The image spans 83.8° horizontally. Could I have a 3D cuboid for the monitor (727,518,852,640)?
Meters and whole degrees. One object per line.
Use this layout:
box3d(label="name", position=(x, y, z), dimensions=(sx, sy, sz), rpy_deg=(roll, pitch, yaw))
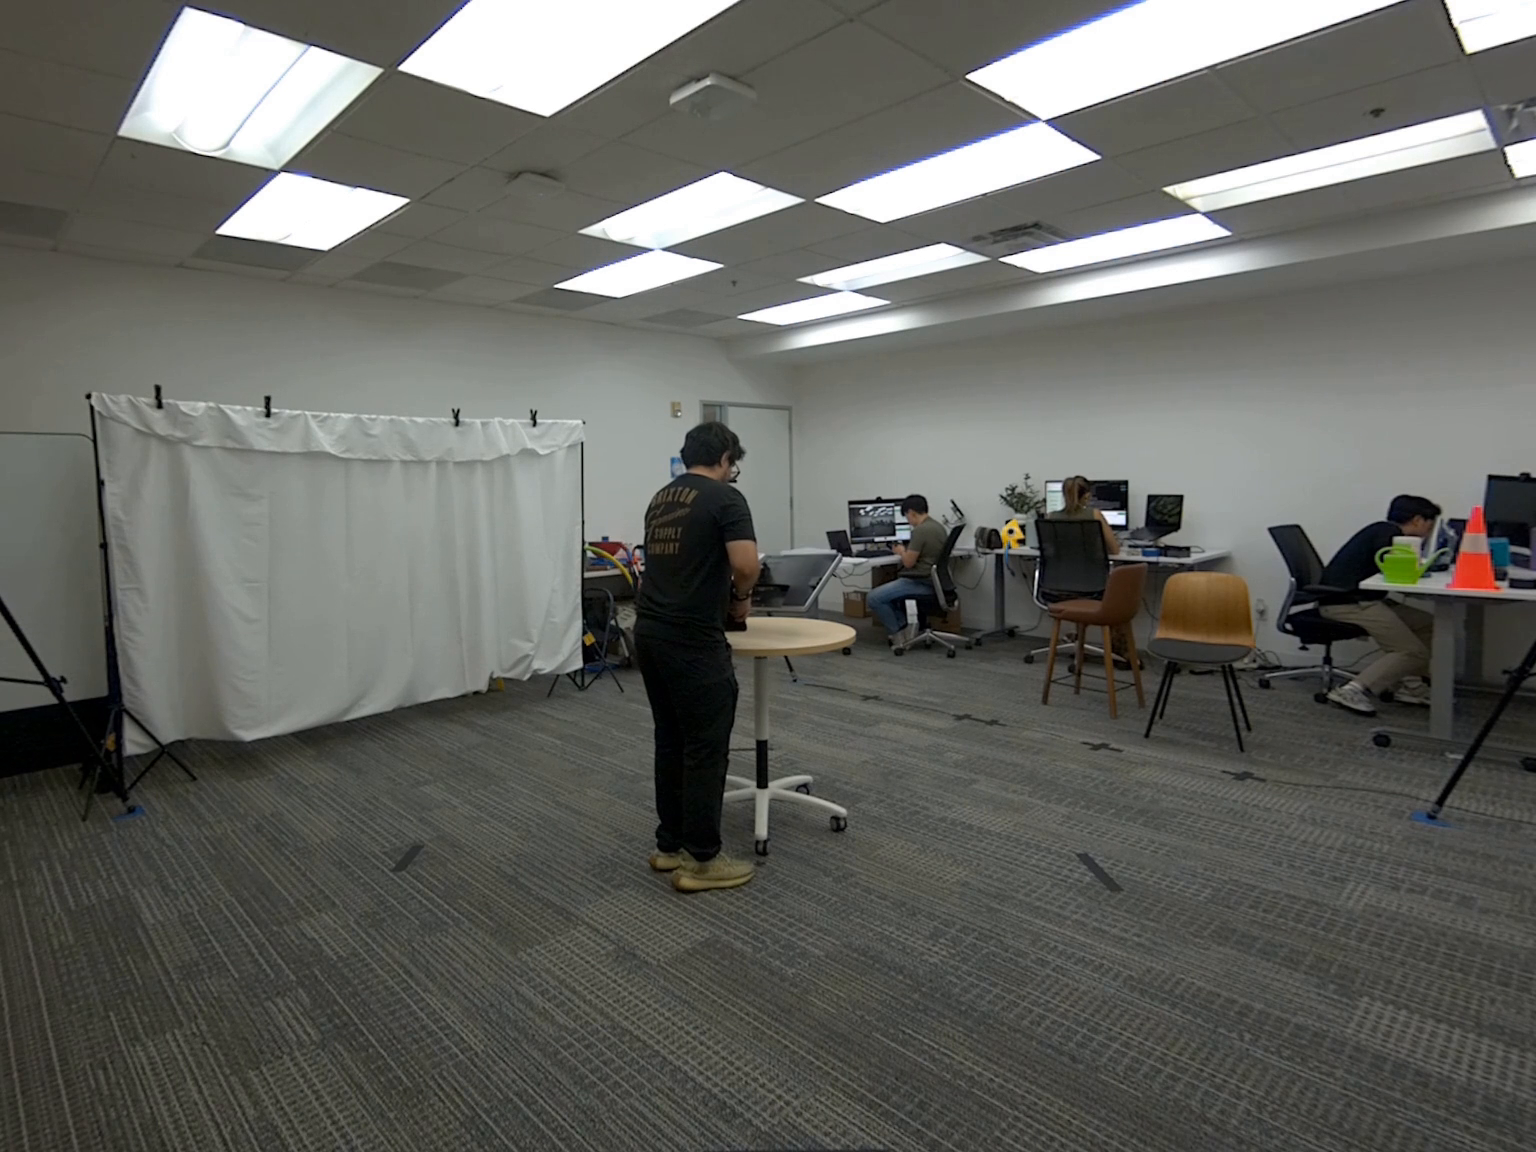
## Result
box3d(label="monitor", position=(-0.062, 0.001, 3.405), dimensions=(0.580, 0.205, 0.552), rpy_deg=(-2, 28, 36))
